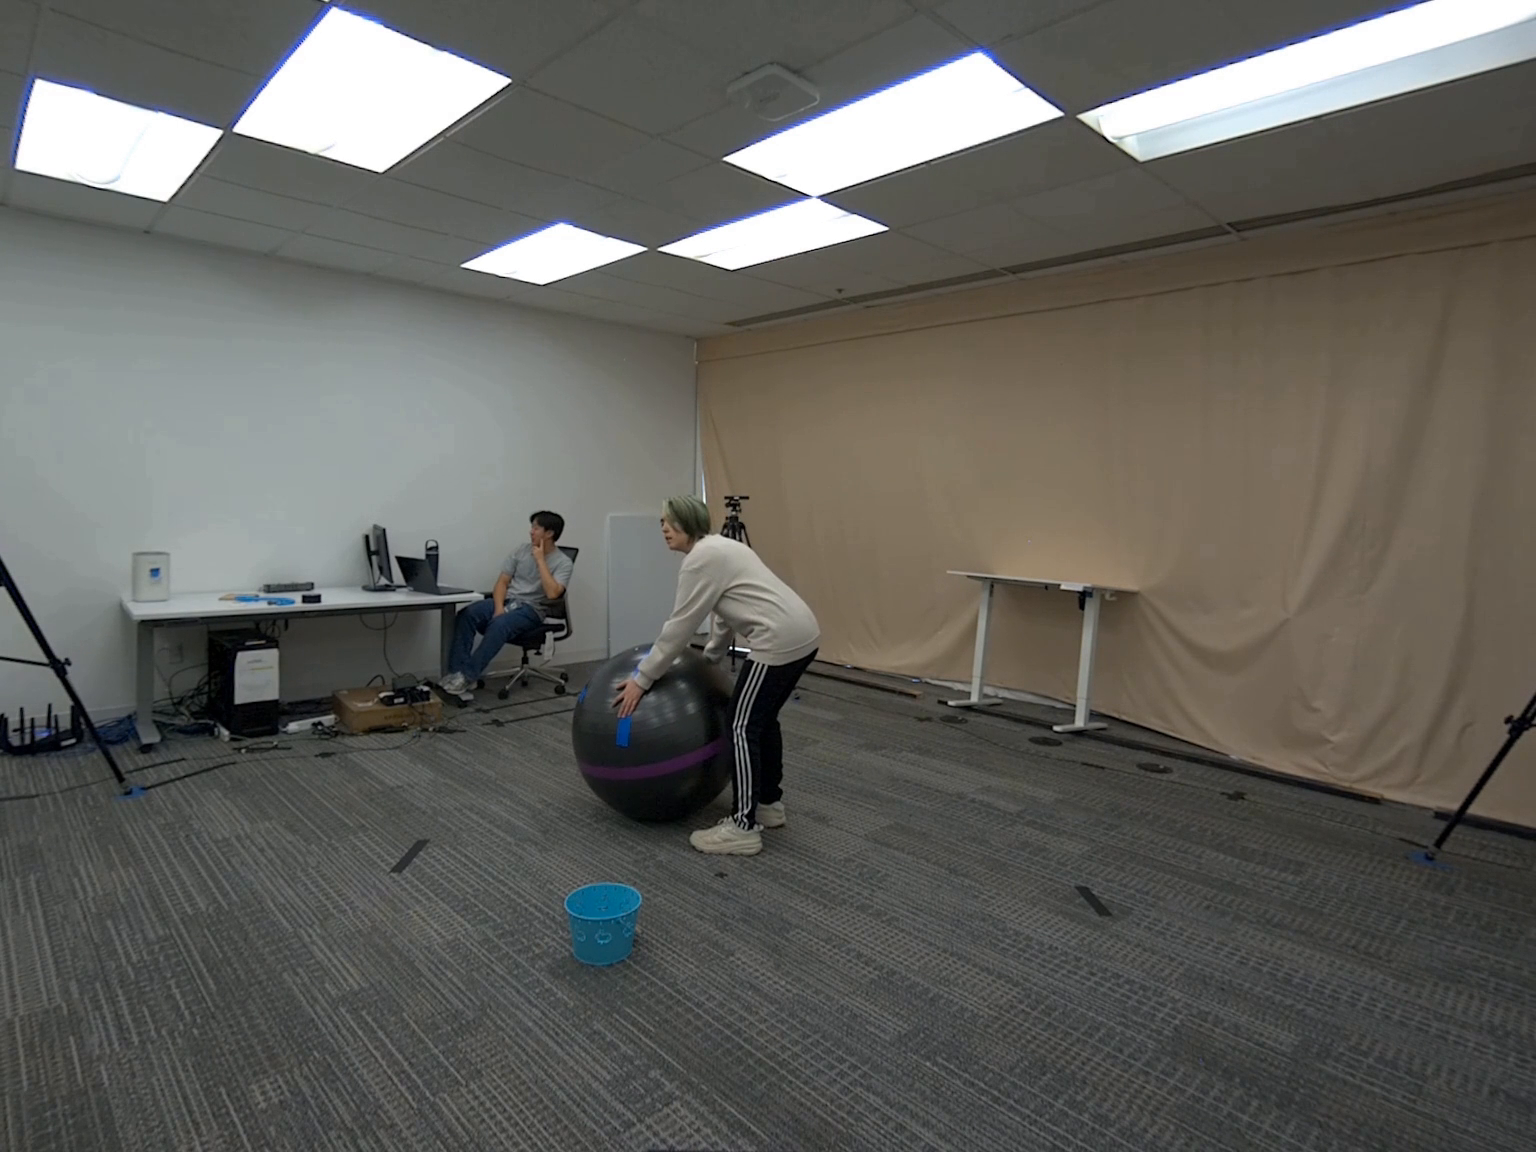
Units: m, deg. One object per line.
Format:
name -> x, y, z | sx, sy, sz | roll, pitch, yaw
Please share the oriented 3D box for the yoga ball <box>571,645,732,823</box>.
yoga ball -> -0.482, 0.670, 3.692 | 0.757, 0.756, 0.761 | 1, 4, -1
